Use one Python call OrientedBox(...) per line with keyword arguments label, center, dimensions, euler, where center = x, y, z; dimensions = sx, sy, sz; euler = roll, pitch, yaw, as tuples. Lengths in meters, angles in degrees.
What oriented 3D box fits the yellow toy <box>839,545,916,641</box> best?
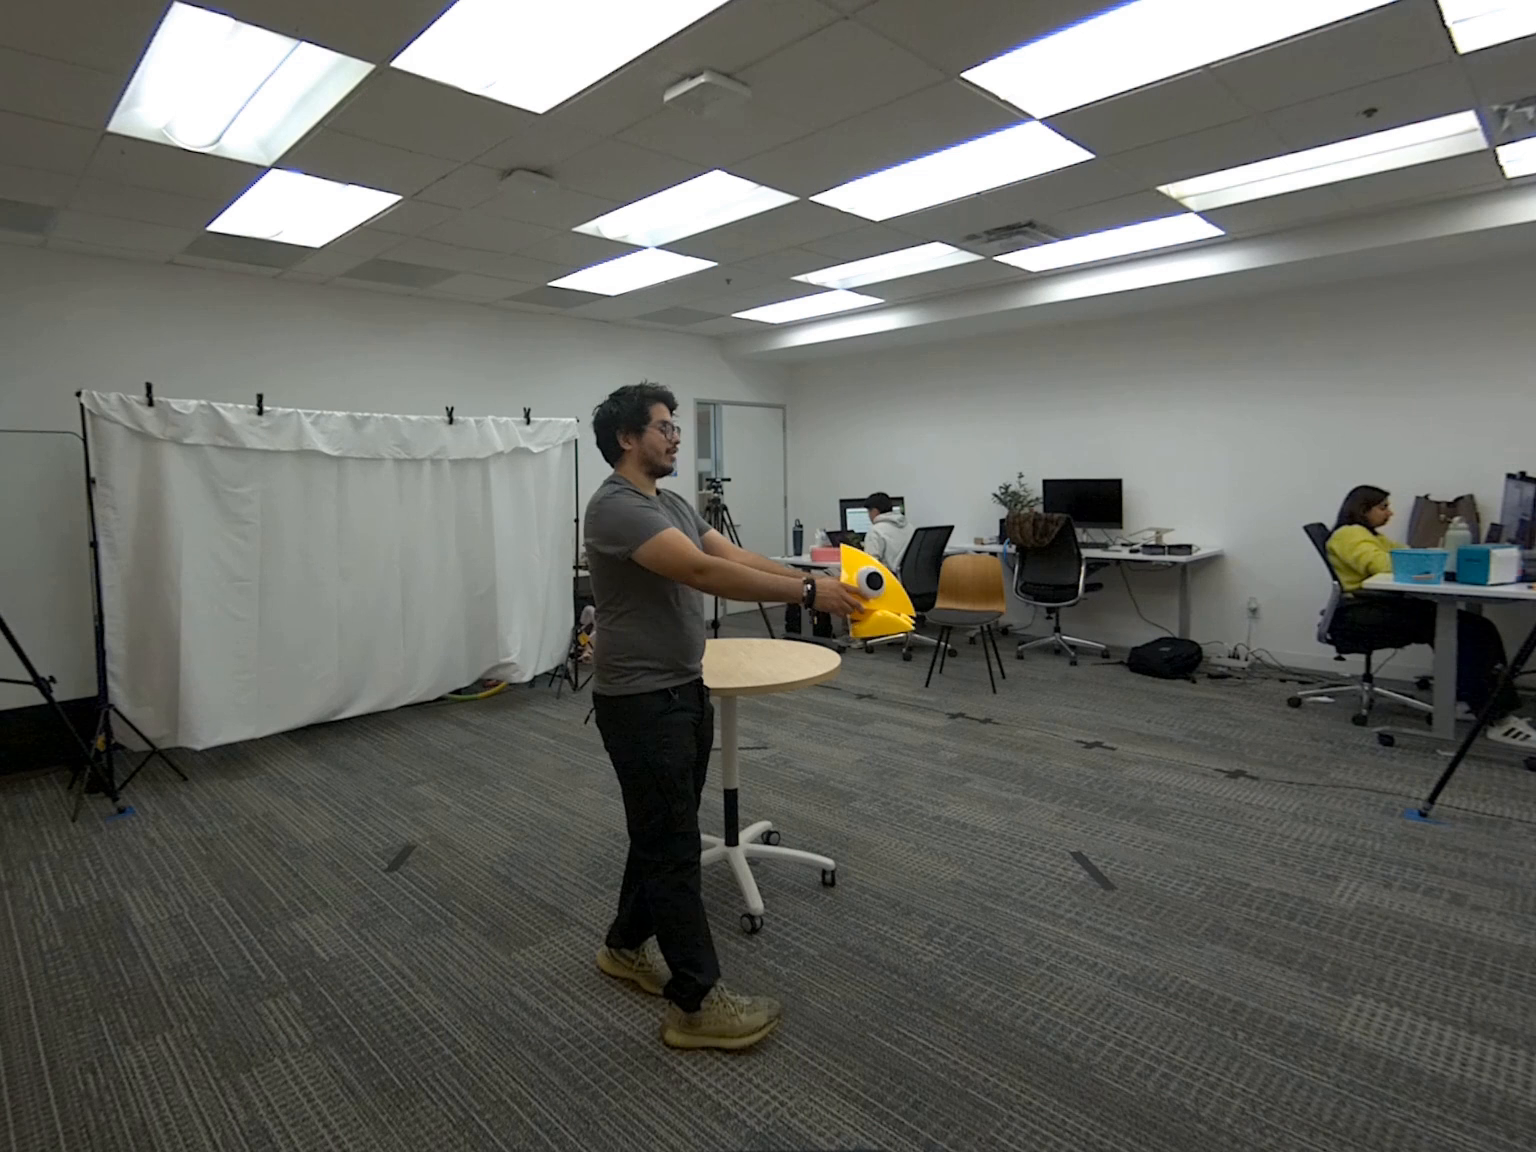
OrientedBox(label="yellow toy", center=(0.263, 0.021, 2.151), dimensions=(0.195, 0.231, 0.202), euler=(-9, 0, 12))
